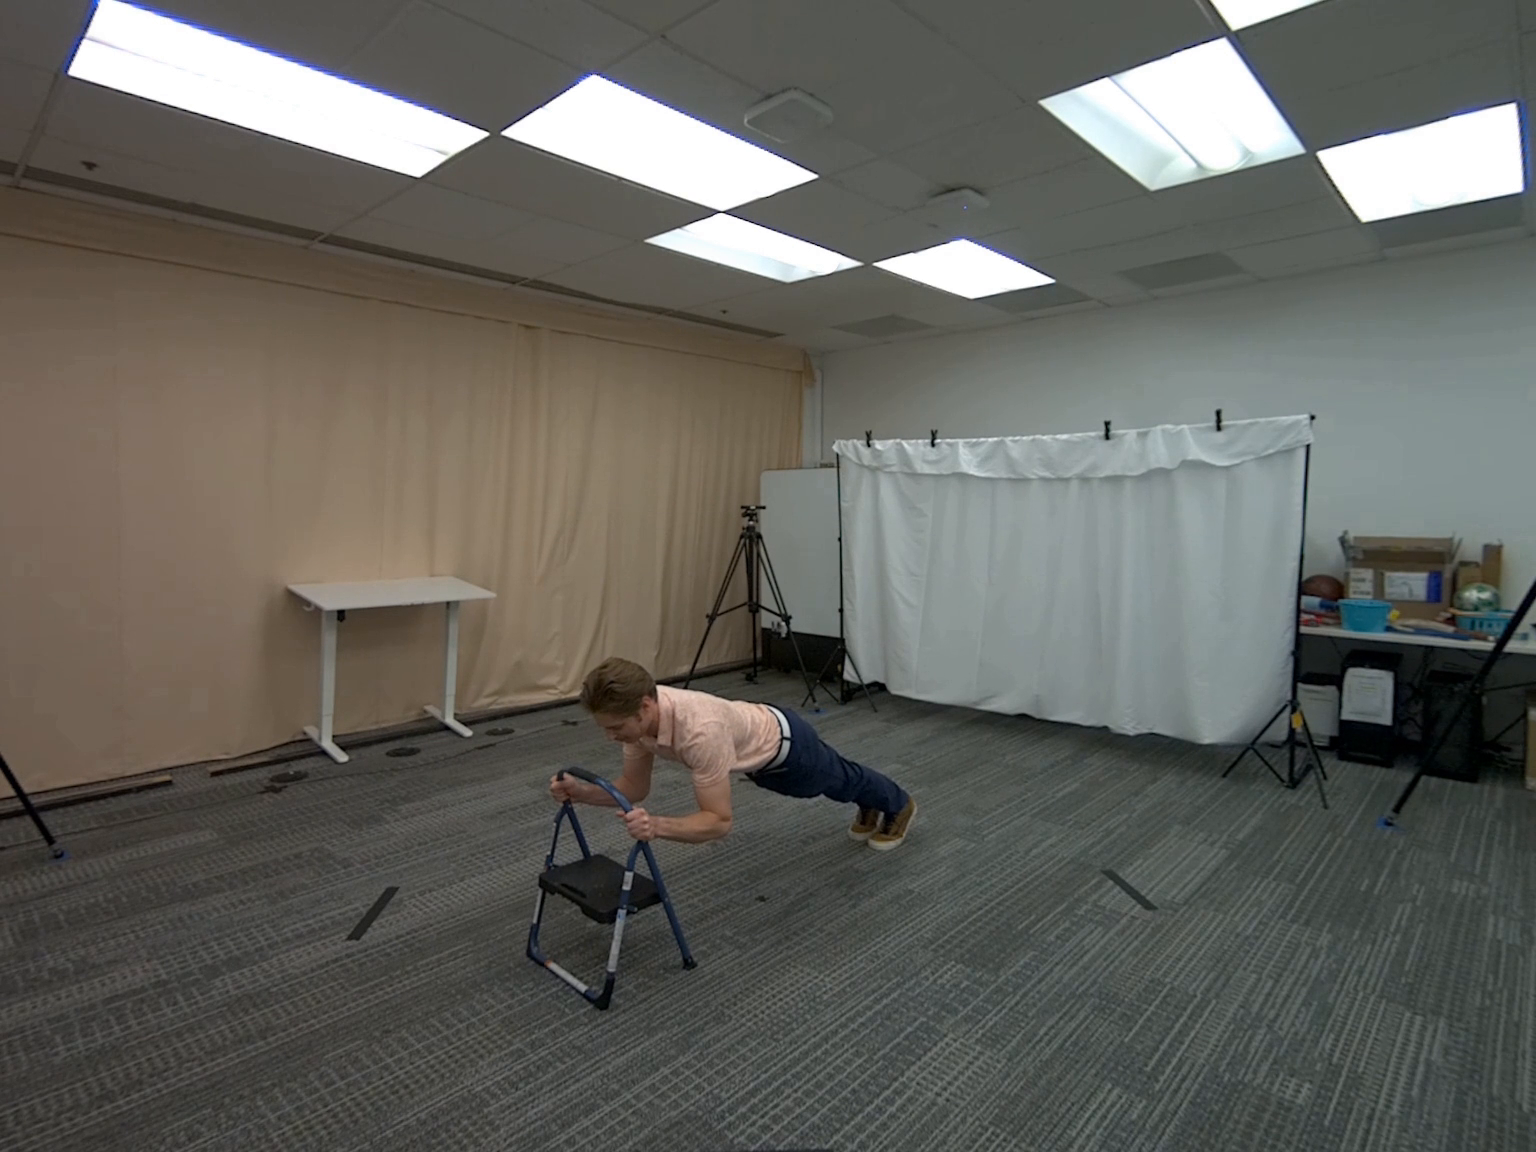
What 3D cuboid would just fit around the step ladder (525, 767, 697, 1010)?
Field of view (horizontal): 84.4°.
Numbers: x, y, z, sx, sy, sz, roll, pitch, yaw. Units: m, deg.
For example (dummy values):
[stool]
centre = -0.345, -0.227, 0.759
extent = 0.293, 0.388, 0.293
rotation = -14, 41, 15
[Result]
[step ladder]
centre = -0.488, 0.882, 2.565
extent = 0.445, 0.605, 0.338
rotation = 3, 5, 44
